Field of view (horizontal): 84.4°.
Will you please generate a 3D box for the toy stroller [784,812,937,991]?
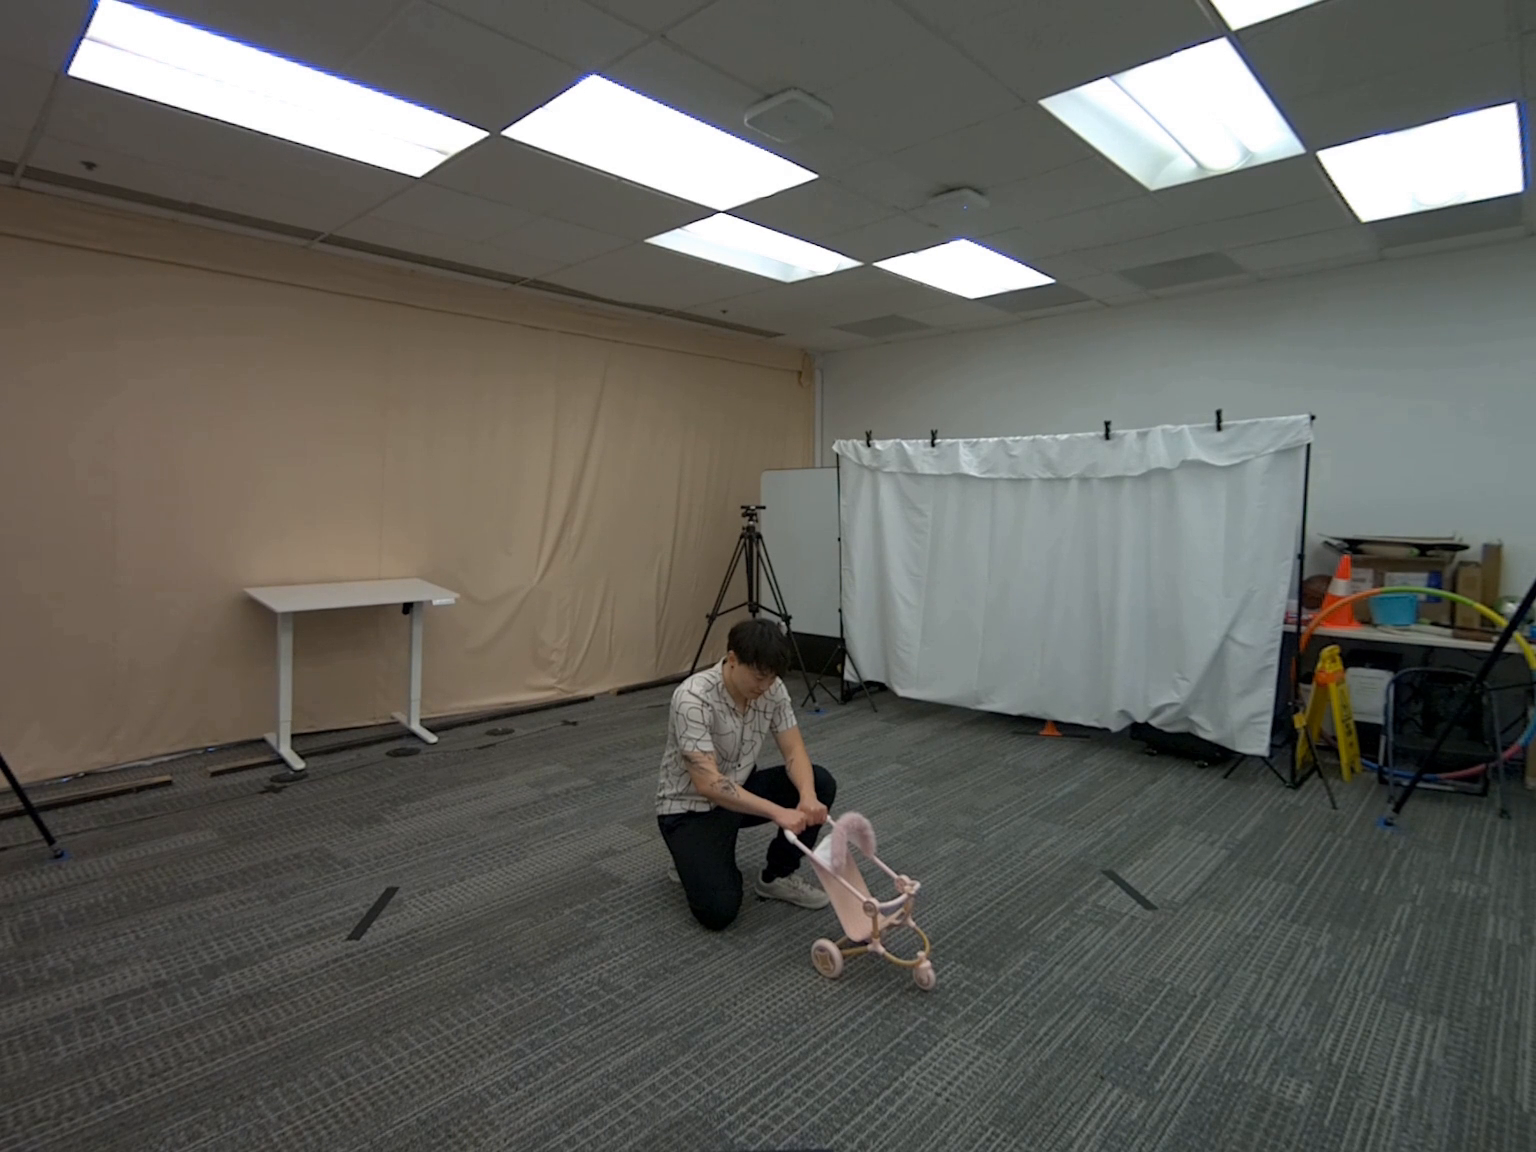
[{"bbox_3d":[0.293,0.957,2.537,0.273,0.540,0.348,-6,-13,-46],"label":"toy stroller"}]
